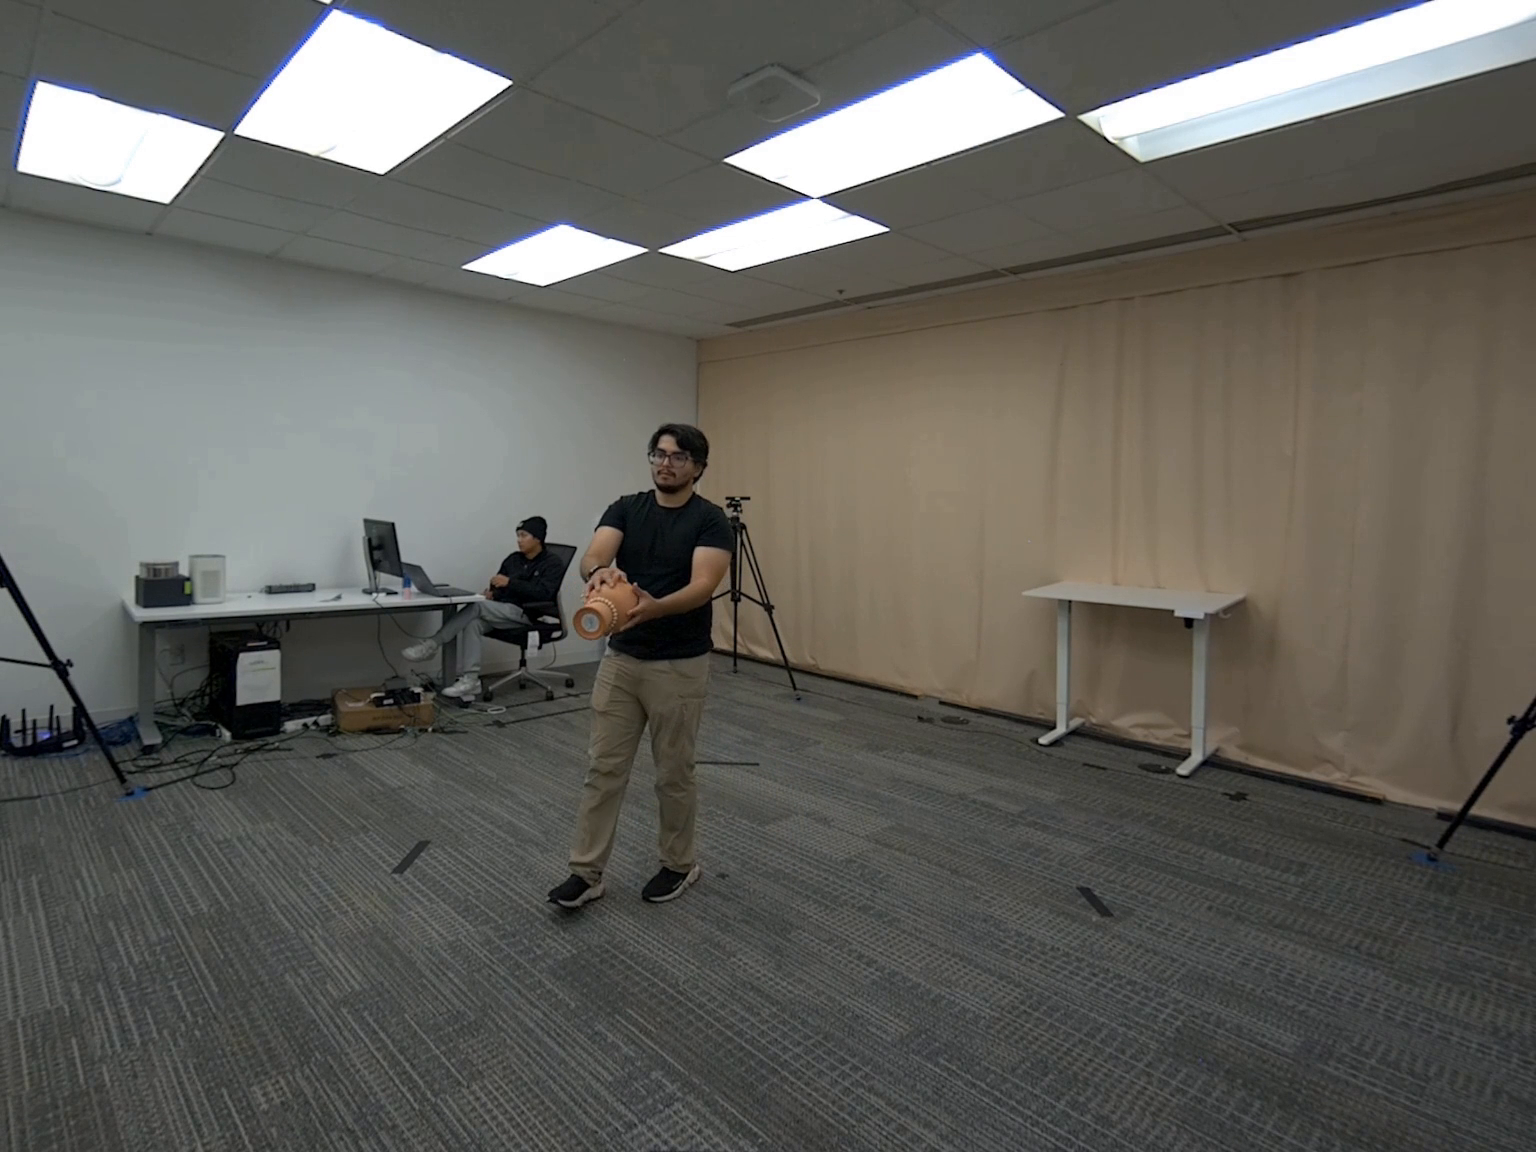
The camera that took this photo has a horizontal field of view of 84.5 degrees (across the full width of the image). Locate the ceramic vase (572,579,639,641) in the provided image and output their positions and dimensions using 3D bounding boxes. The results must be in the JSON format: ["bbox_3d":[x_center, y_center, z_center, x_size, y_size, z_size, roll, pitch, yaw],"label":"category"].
[{"bbox_3d":[-0.480,0.103,2.373,0.135,0.158,0.219,-32,5,18],"label":"ceramic vase"}]
